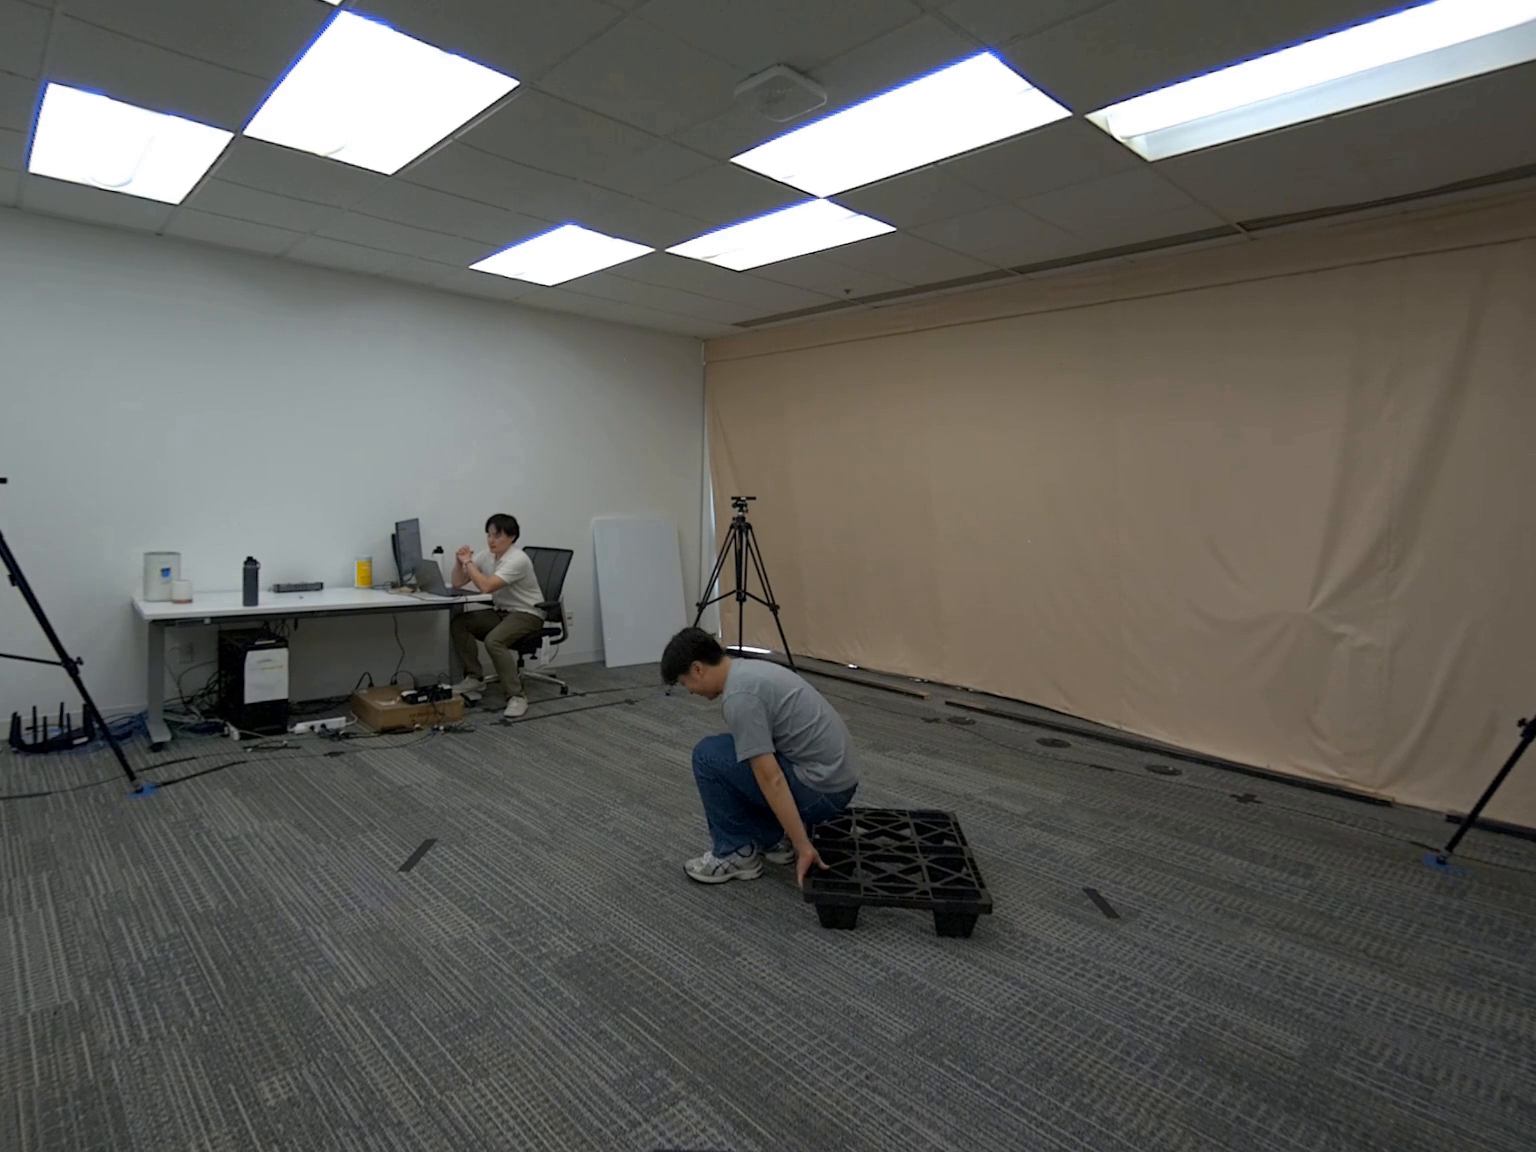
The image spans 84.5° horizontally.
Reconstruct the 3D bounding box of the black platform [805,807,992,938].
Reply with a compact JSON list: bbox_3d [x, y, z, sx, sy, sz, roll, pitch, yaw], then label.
[{"bbox_3d":[0.425,1.051,3.066,0.608,0.143,0.804,1,5,5],"label":"black platform"}]
